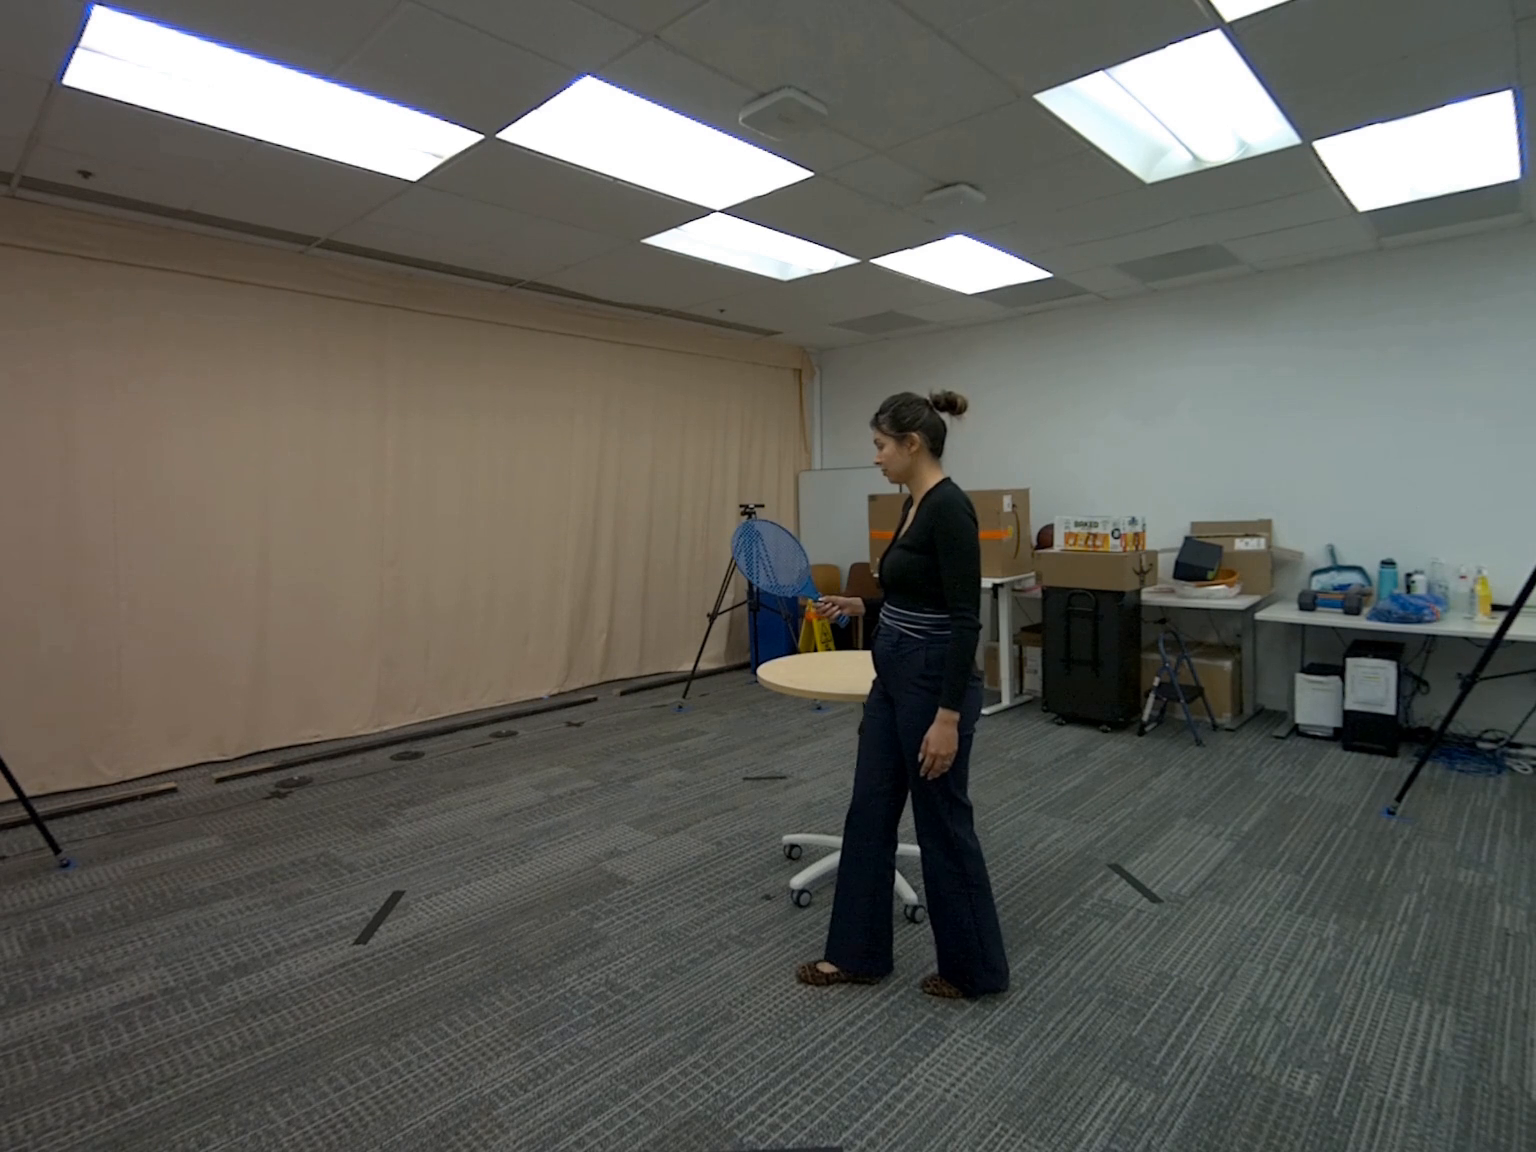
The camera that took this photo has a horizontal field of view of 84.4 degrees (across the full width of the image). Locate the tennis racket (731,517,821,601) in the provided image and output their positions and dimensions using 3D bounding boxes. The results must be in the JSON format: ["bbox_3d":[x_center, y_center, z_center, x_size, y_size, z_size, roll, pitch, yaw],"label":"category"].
[{"bbox_3d":[0.070,-0.006,2.515,0.430,0.213,0.032,37,-19,-5],"label":"tennis racket"}]
